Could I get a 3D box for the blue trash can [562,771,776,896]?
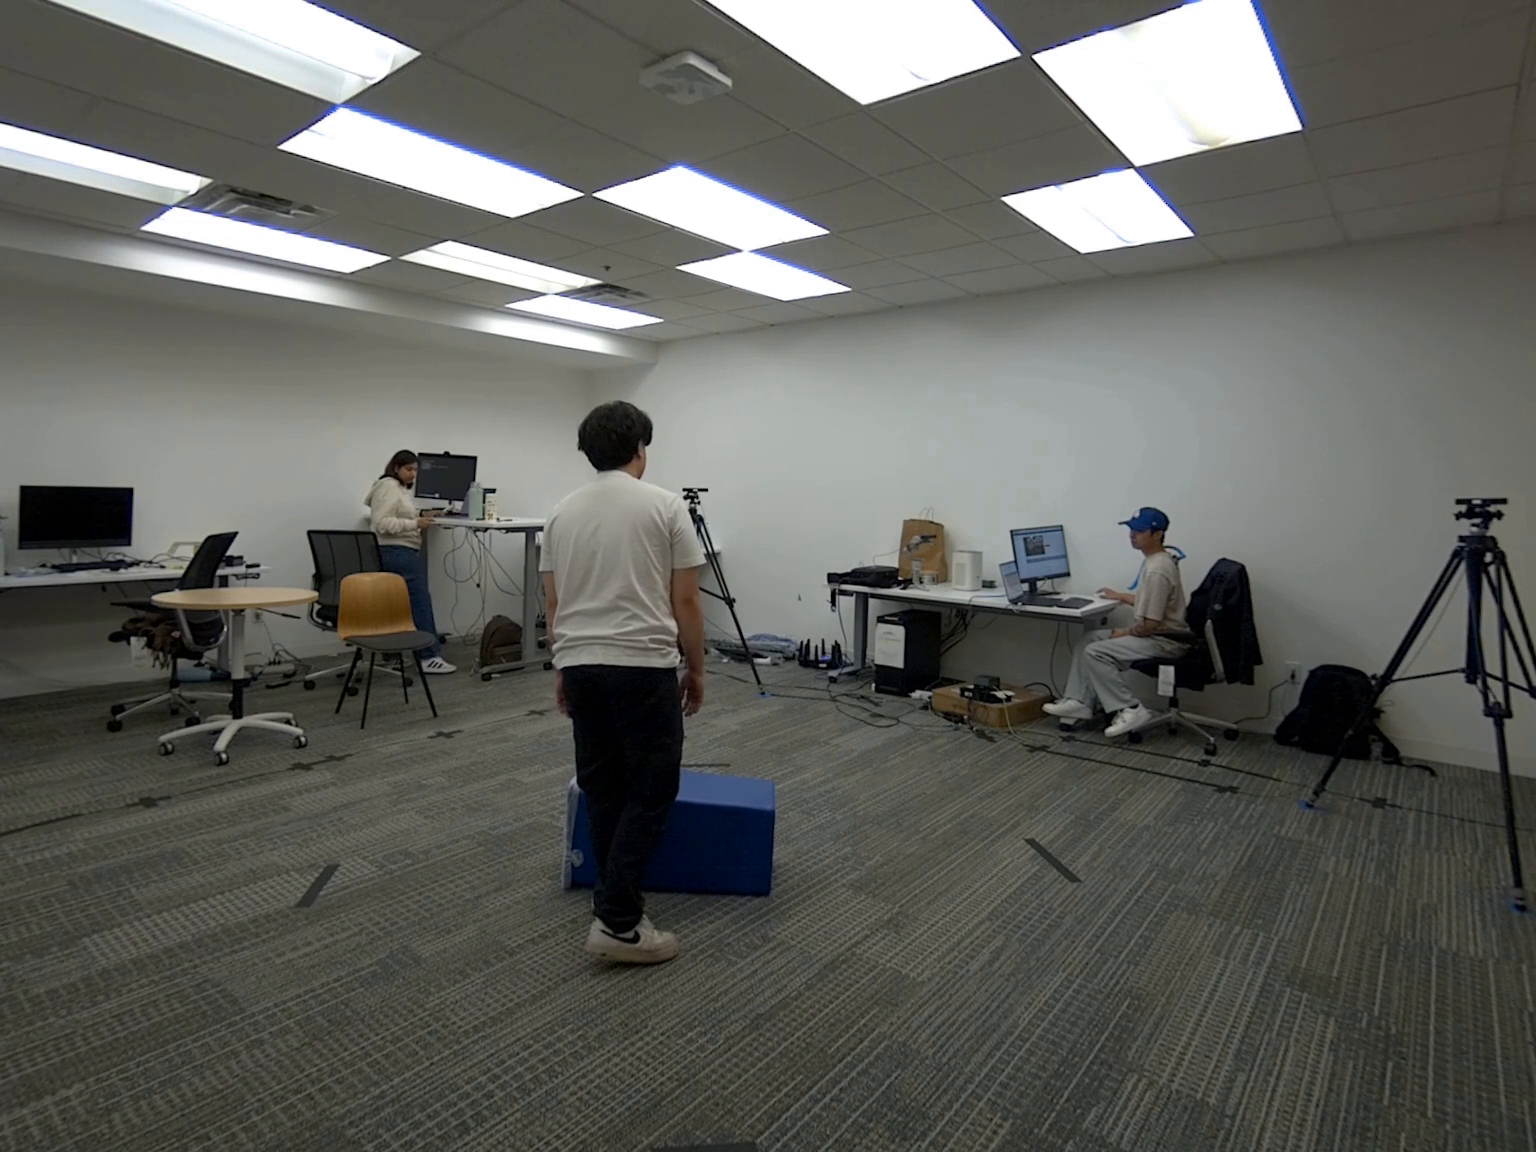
[{"bbox_3d":[-0.349,0.905,3.070,0.716,0.377,0.374,4,3,2],"label":"blue trash can"}]
